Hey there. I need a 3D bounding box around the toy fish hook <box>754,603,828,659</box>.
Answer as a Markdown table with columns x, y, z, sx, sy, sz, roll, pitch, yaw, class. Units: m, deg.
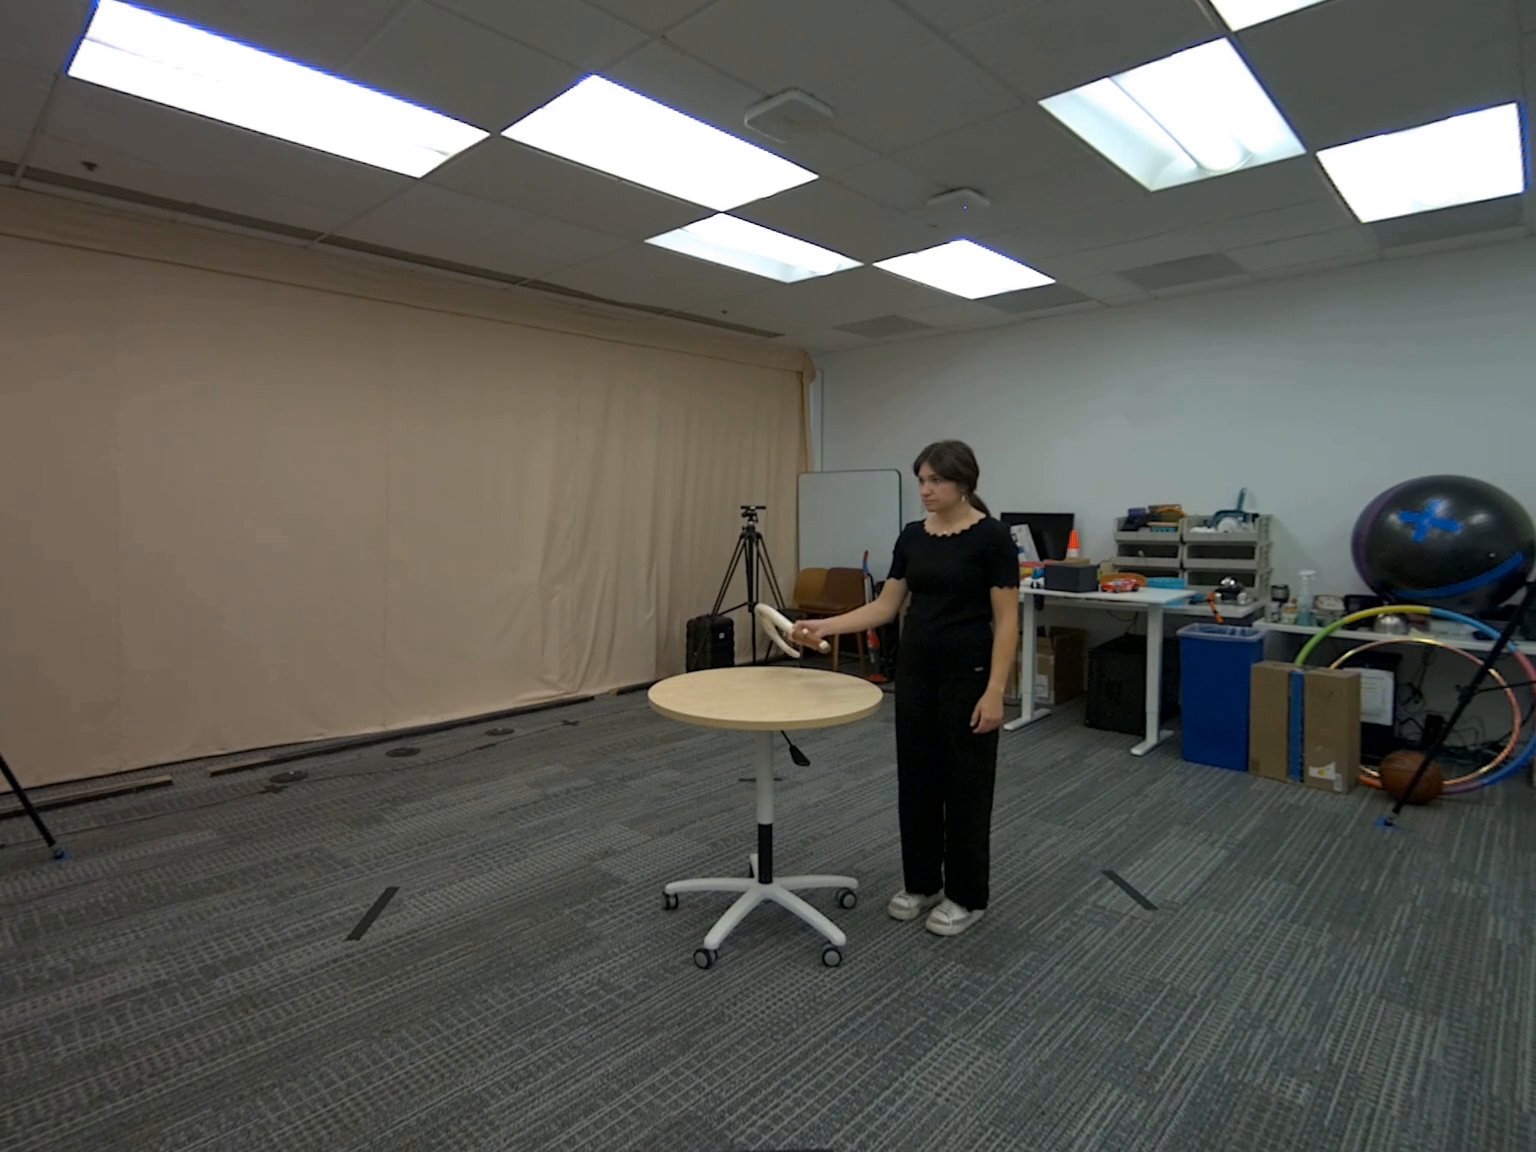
| x | y | z | sx | sy | sz | roll | pitch | yaw | class |
| --- | --- | --- | --- | --- | --- | --- | --- | --- | --- |
| 0.102 | 0.221 | 2.911 | 0.048 | 0.219 | 0.521 | -38 | 24 | -12 | toy fish hook |
